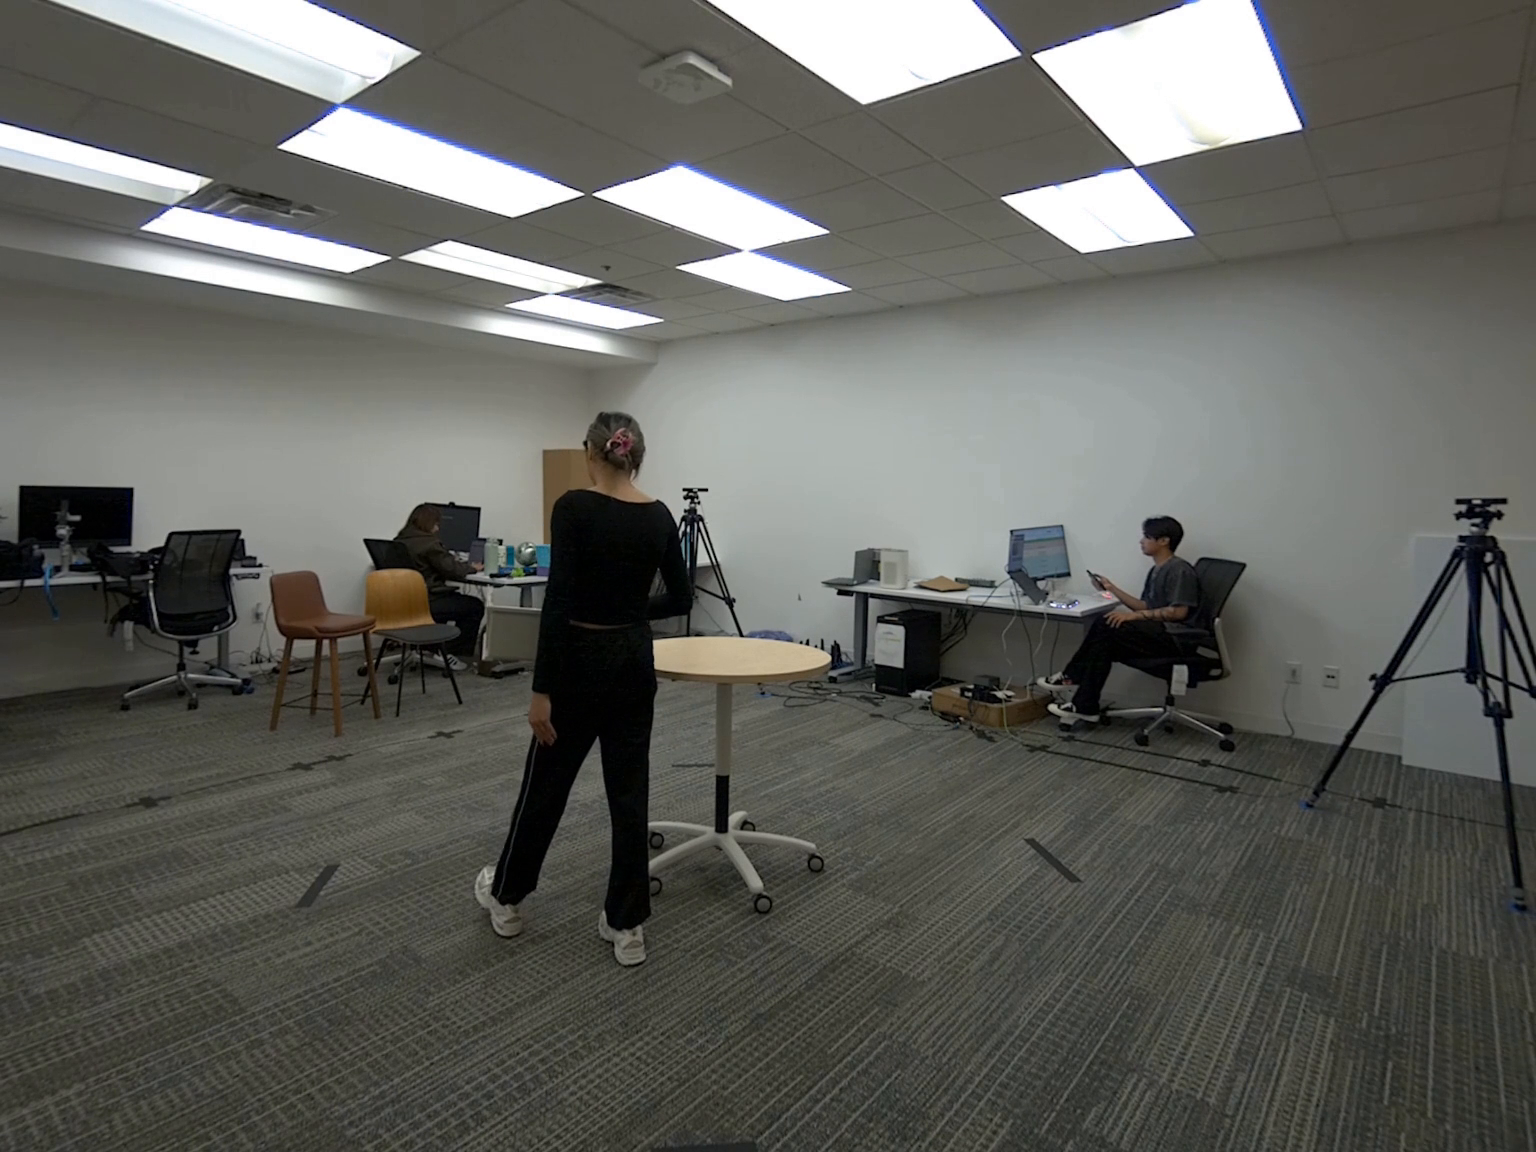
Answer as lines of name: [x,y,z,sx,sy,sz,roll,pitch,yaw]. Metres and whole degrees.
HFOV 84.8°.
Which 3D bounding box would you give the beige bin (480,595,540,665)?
beige bin: [-0.756,0.160,2.876,0.415,0.187,0.387,5,10,-17]
